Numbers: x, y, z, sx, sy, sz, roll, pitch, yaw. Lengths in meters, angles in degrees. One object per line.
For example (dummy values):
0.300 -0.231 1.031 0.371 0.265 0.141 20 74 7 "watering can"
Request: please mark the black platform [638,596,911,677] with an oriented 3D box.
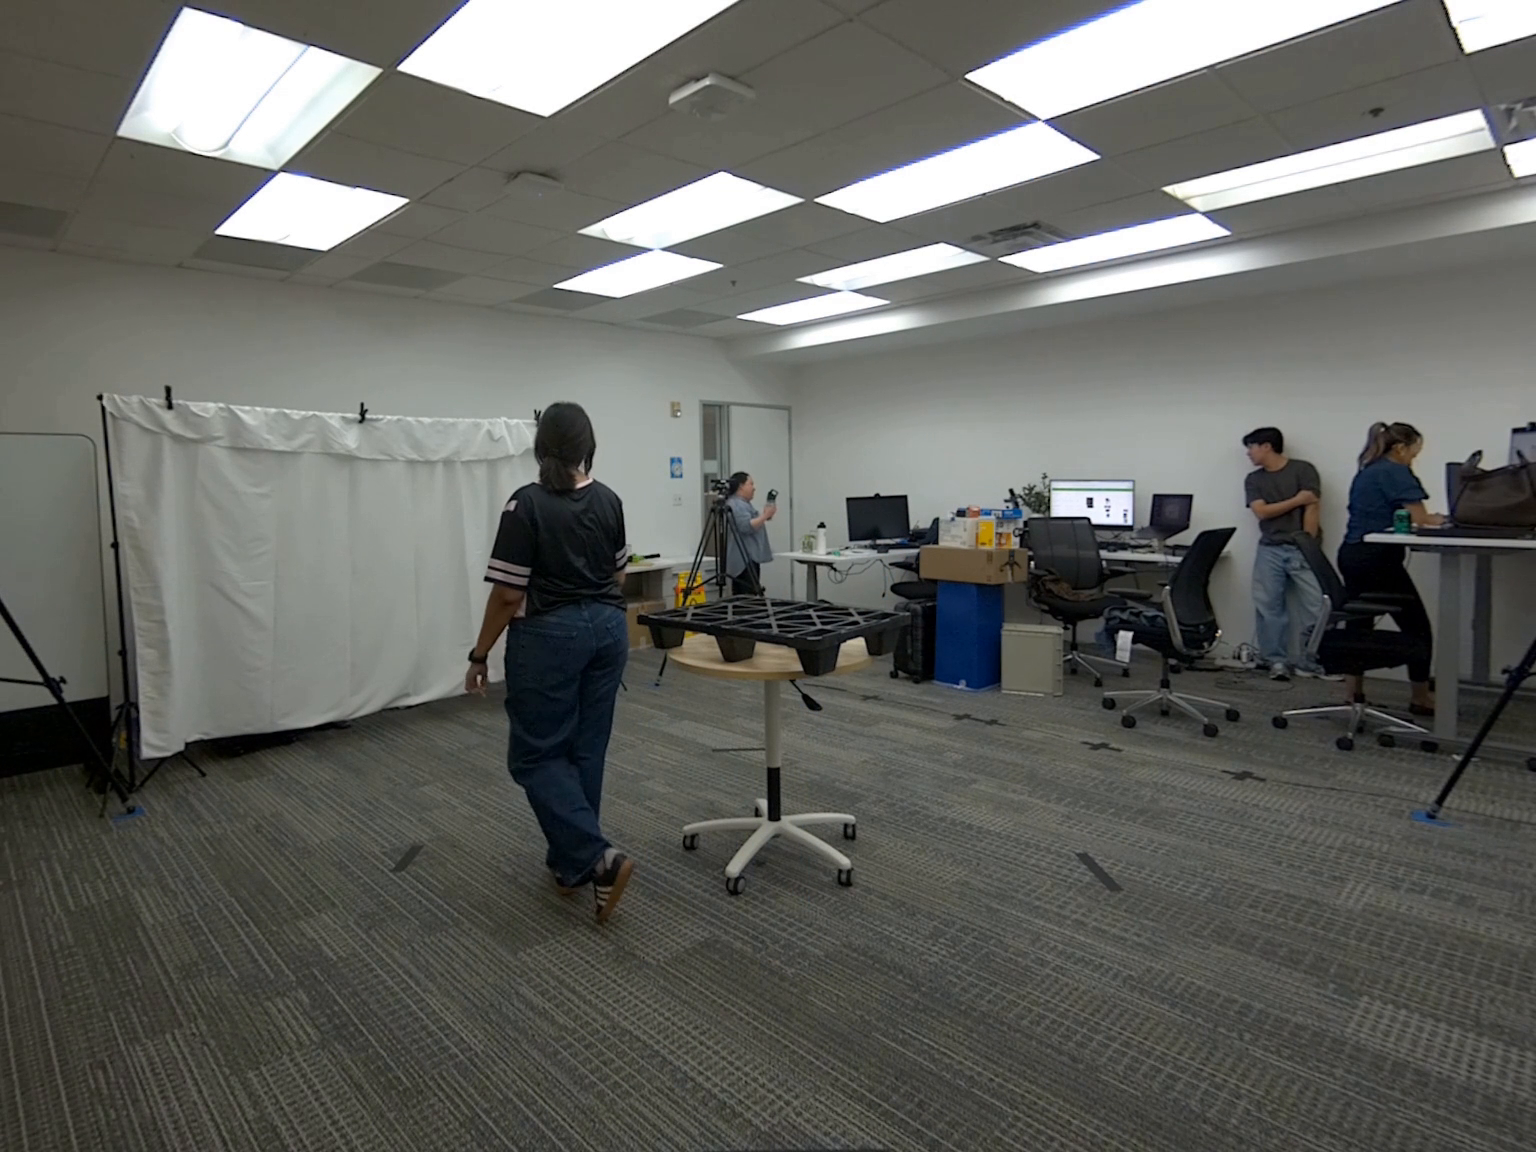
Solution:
0.016 0.201 3.058 0.830 0.142 0.590 4 9 41 "black platform"
